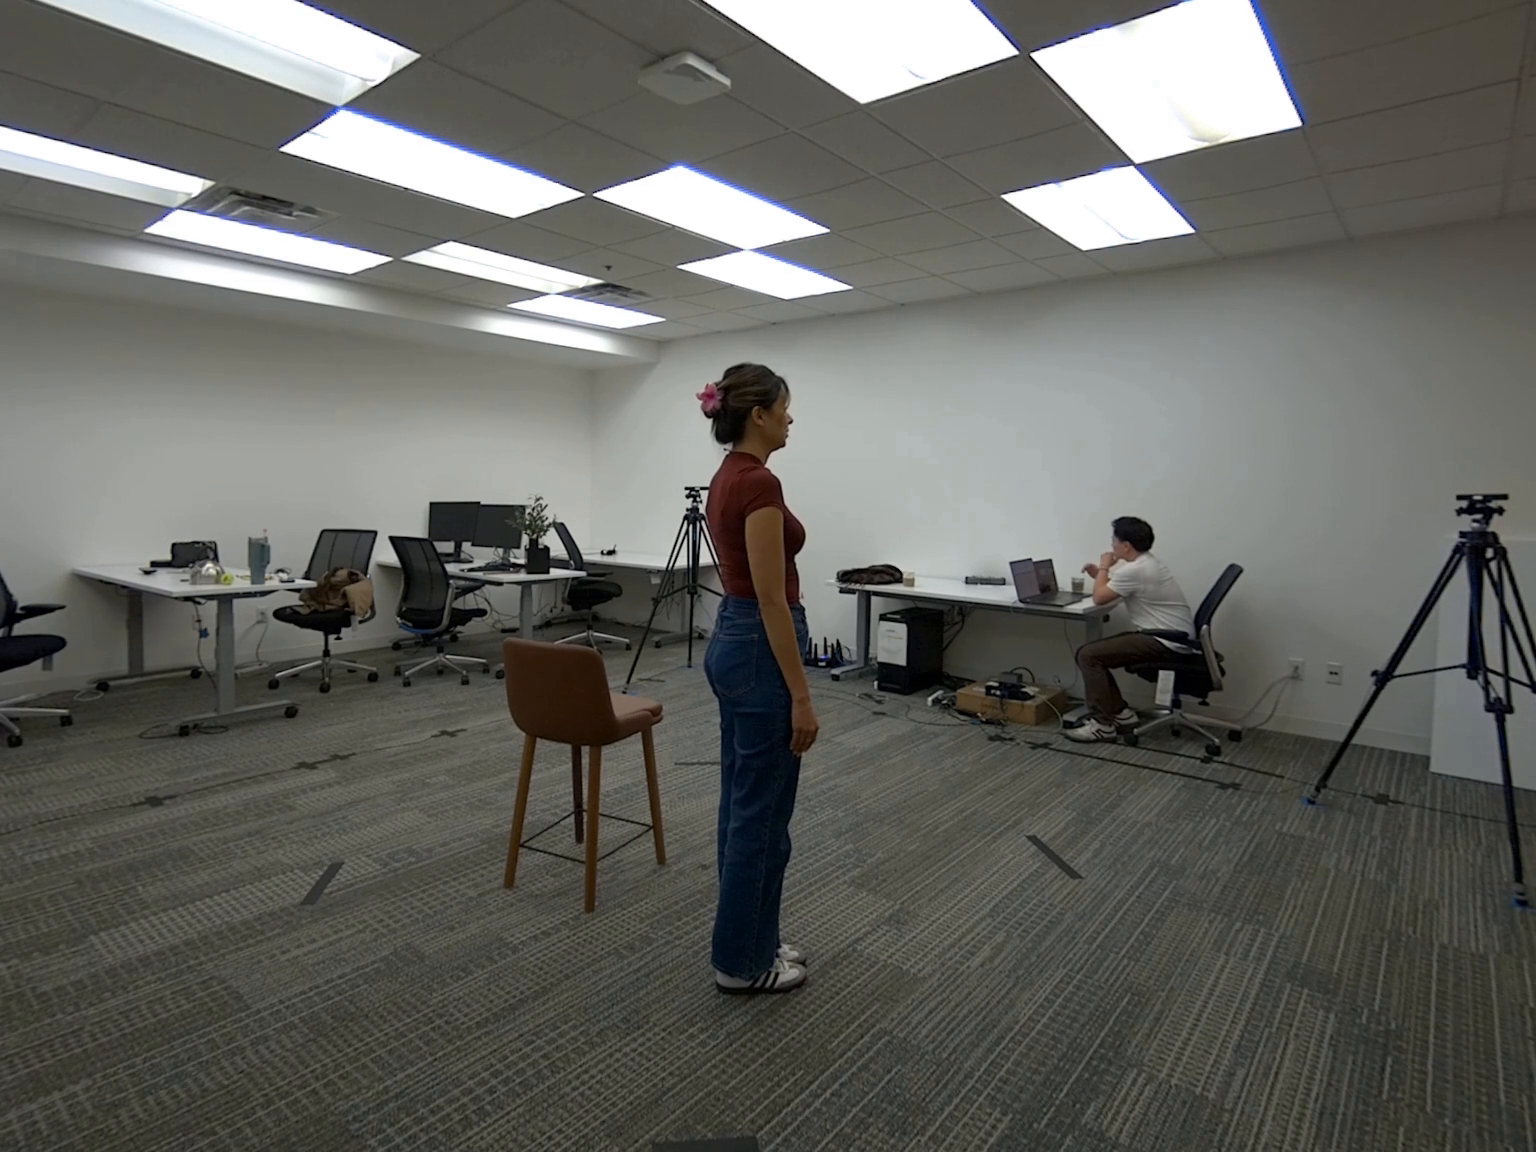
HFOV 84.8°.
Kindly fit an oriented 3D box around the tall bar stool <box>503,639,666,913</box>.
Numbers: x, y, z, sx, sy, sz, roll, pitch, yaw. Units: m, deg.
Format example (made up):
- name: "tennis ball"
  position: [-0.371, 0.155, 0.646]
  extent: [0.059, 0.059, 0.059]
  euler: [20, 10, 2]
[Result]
- name: "tall bar stool"
  position: [-0.663, 0.633, 3.021]
  extent: [0.469, 0.886, 0.457]
  euler: [2, 5, 27]
